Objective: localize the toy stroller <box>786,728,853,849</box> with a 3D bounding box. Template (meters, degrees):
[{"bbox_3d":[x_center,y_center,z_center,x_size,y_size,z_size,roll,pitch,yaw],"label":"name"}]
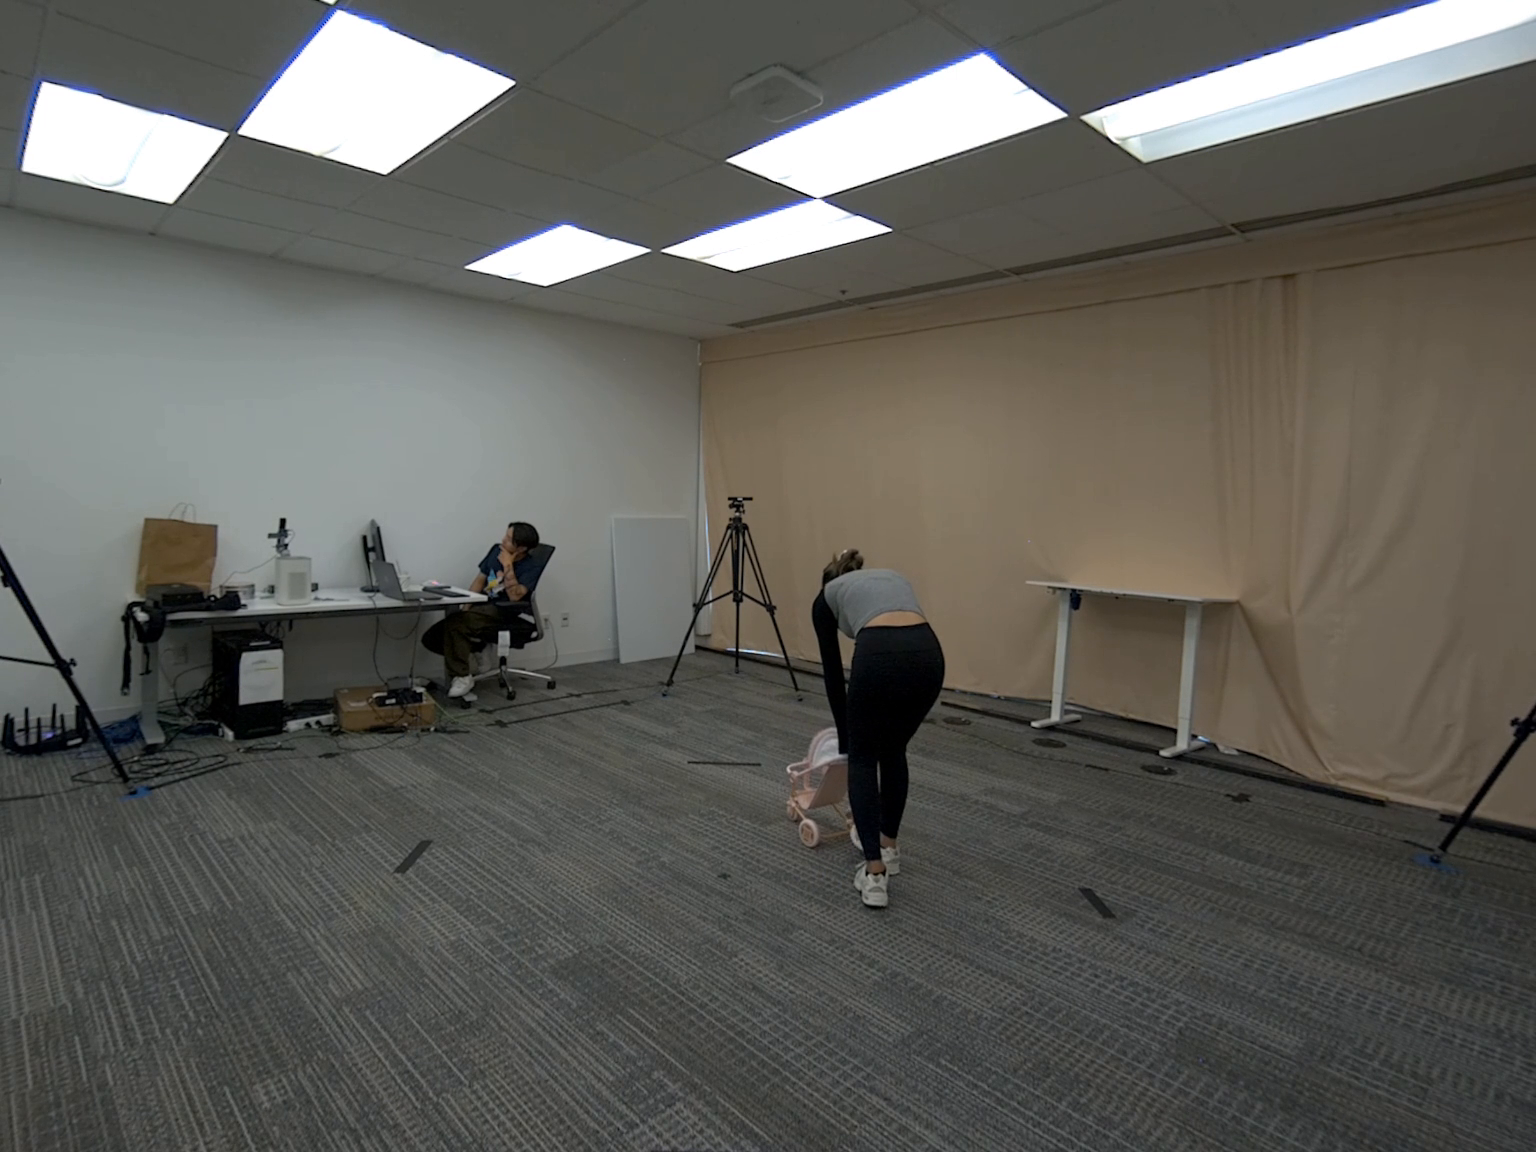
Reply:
[{"bbox_3d":[0.226,0.857,3.497,0.275,0.530,0.352,0,21,-33],"label":"toy stroller"}]
